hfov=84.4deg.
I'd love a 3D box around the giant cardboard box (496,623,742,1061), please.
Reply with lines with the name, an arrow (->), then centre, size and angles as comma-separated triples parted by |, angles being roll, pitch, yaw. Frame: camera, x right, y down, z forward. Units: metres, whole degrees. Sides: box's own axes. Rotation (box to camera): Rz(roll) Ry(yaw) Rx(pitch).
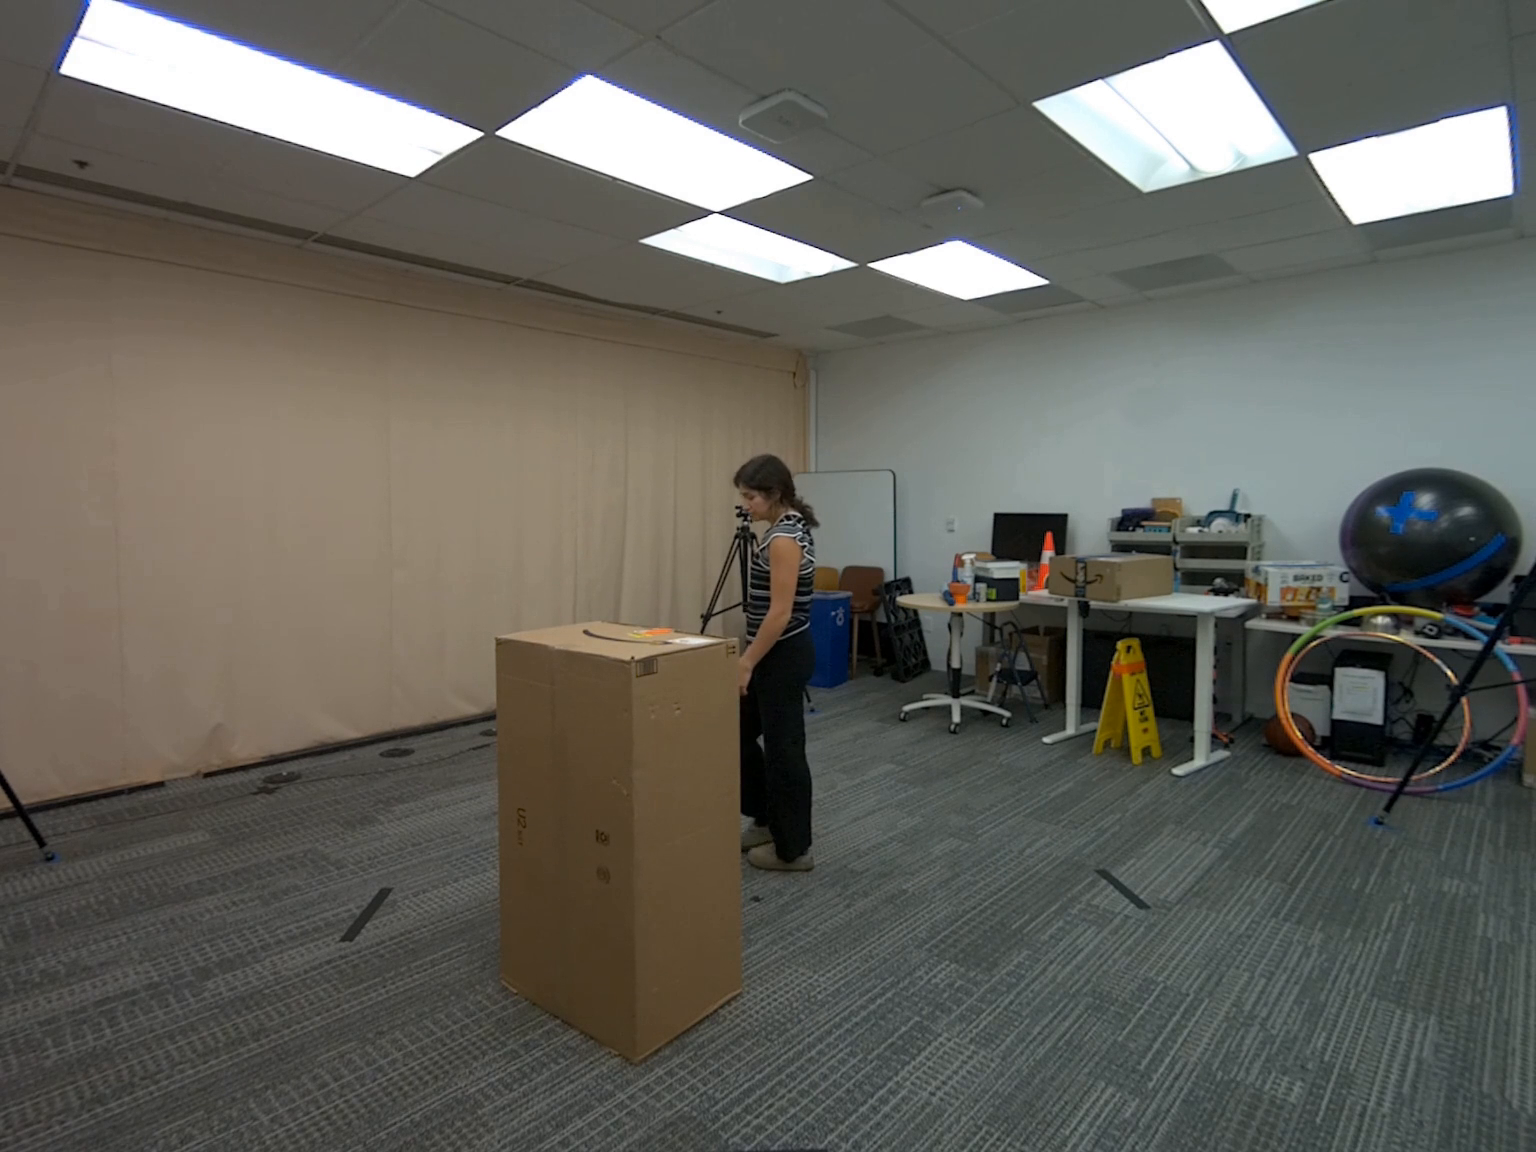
giant cardboard box -> -0.434, 0.688, 2.415 | 0.596, 1.024, 0.413 | 2, 4, 39
